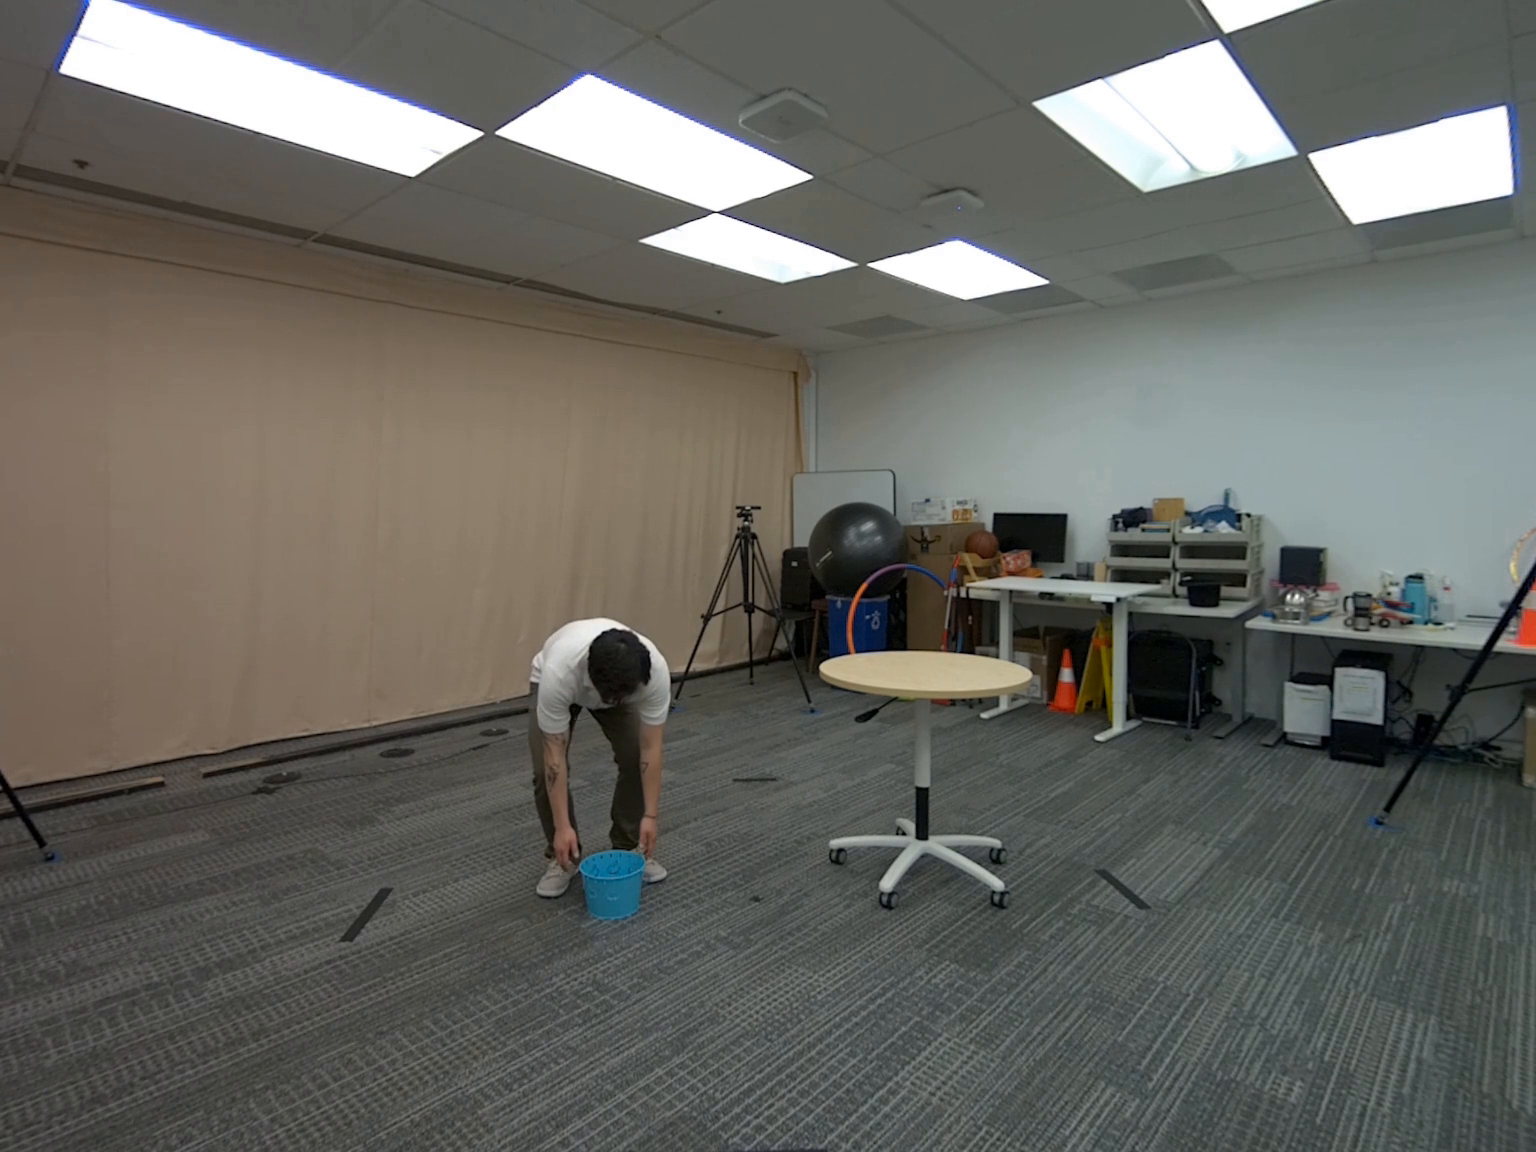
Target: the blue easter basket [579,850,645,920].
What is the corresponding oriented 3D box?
[{"bbox_3d":[-0.536,1.070,2.928,0.243,0.155,0.244,-1,5,-2],"label":"blue easter basket"}]
